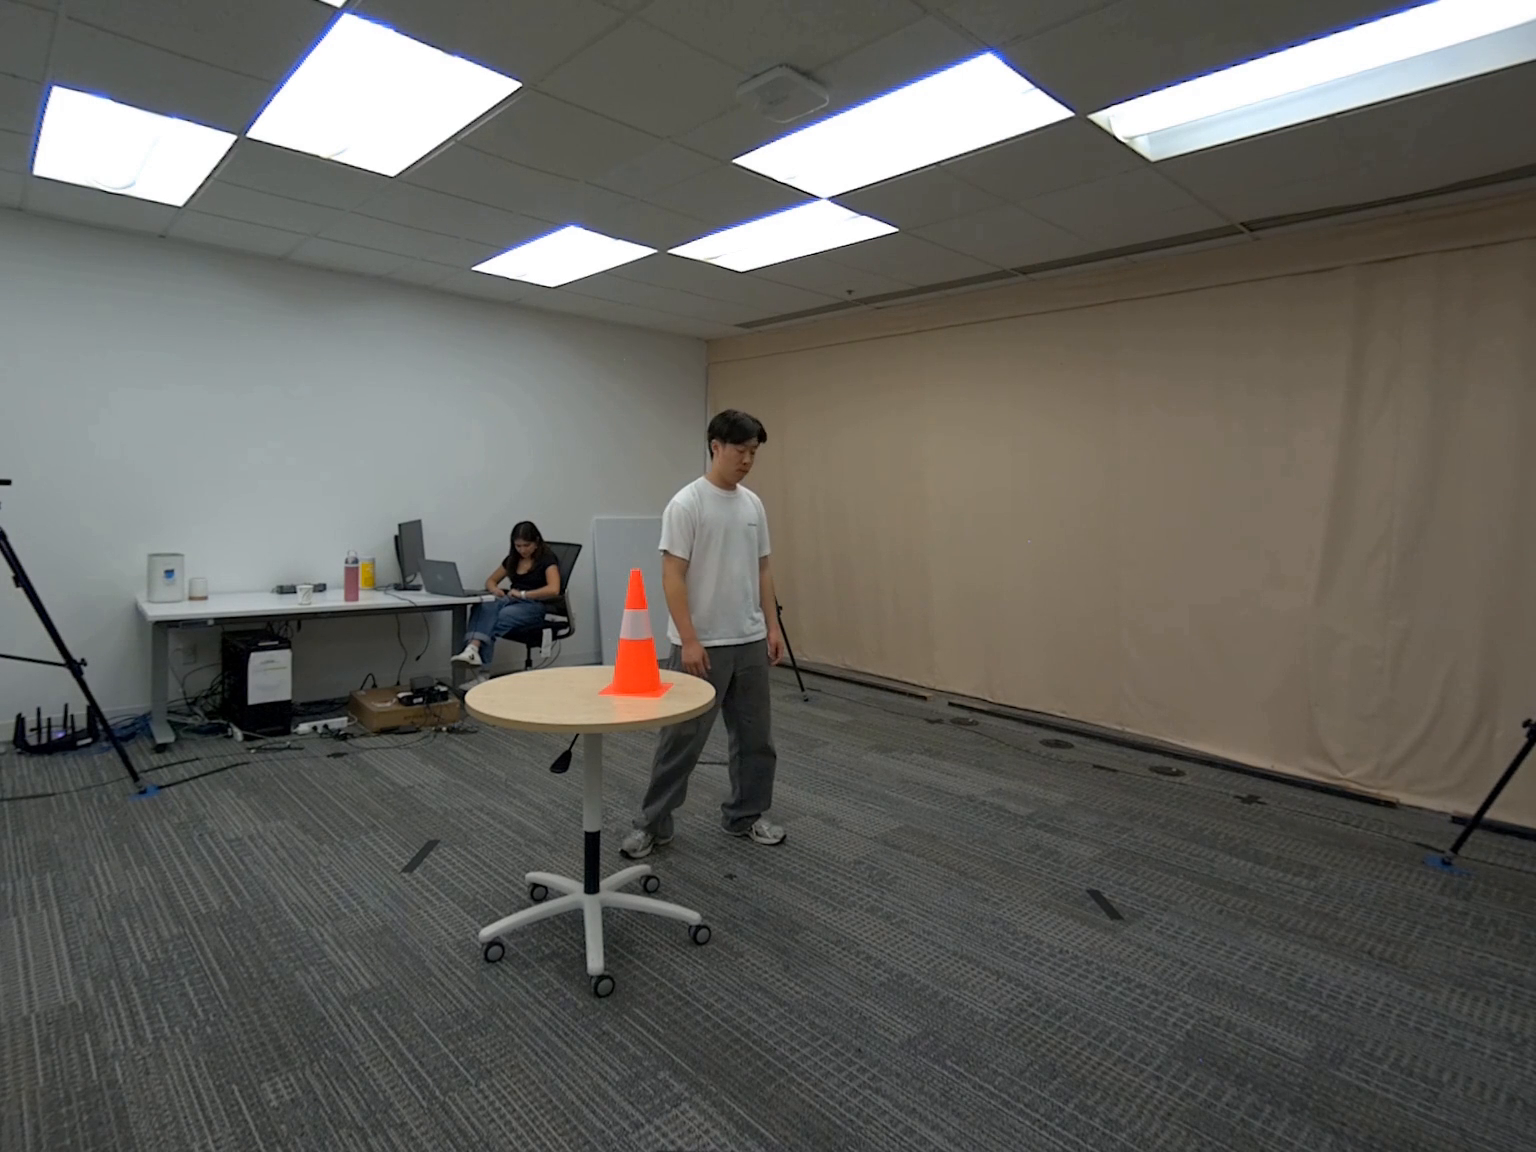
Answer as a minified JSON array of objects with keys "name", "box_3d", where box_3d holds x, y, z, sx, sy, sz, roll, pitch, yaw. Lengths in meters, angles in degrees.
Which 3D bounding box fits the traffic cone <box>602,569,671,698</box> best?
[{"name":"traffic cone","box_3d":[-0.424,0.176,2.647,0.205,0.383,0.204,1,2,8]}]
